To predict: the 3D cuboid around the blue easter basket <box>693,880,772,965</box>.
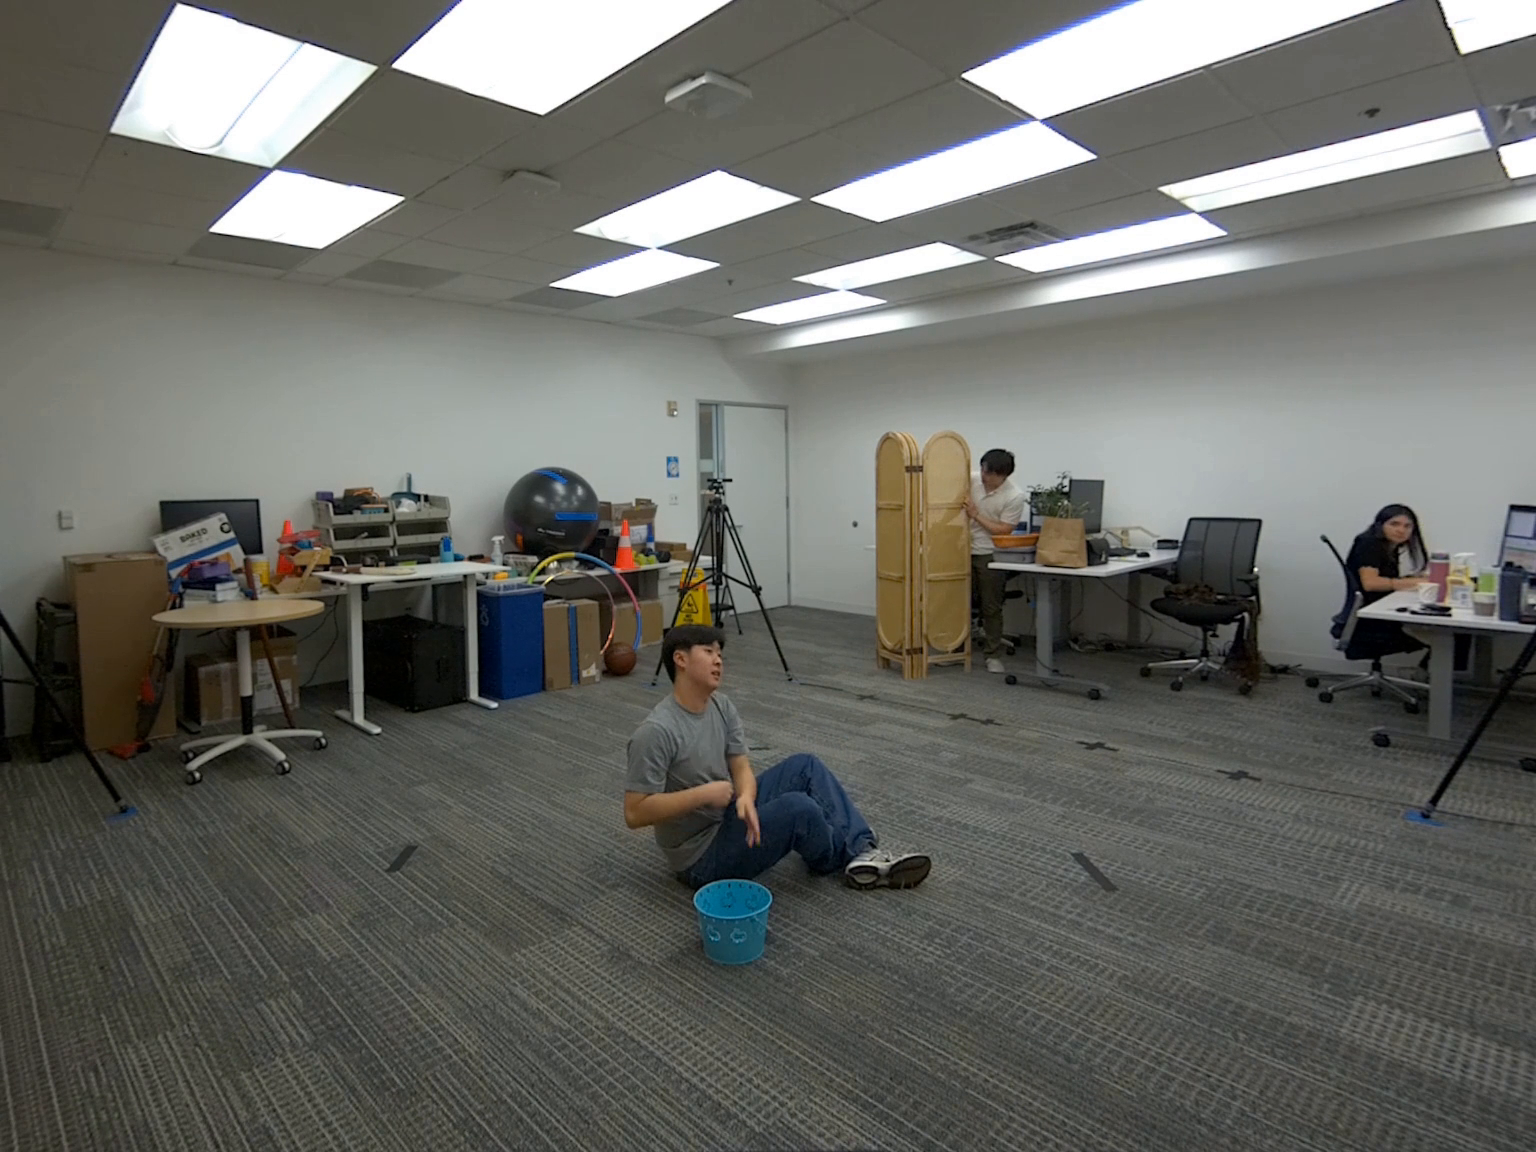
[{"bbox_3d":[-0.097,1.036,2.546,0.243,0.155,0.245,-2,6,-2],"label":"blue easter basket"}]
